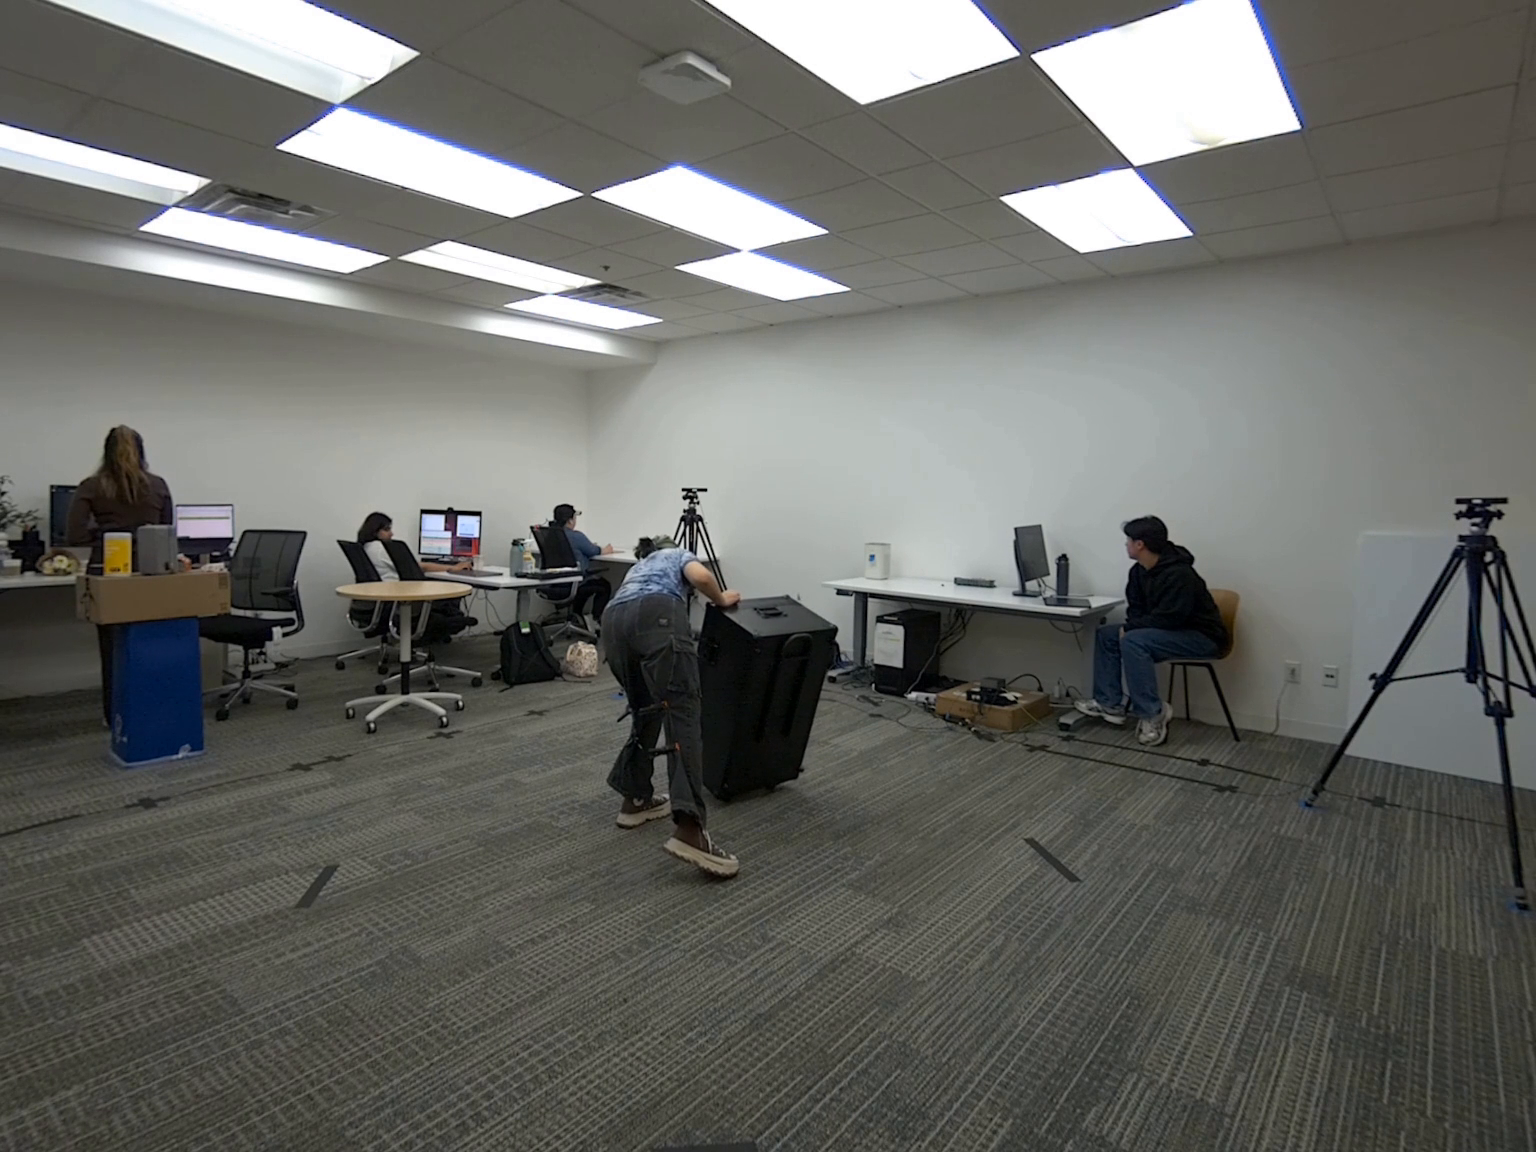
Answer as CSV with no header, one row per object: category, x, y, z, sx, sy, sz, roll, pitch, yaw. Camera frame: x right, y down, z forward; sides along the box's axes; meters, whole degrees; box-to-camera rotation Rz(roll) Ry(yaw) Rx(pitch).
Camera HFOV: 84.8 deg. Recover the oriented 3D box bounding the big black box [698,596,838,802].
big black box,-0.060,0.511,3.839,0.506,0.852,0.413,-2,20,-39
